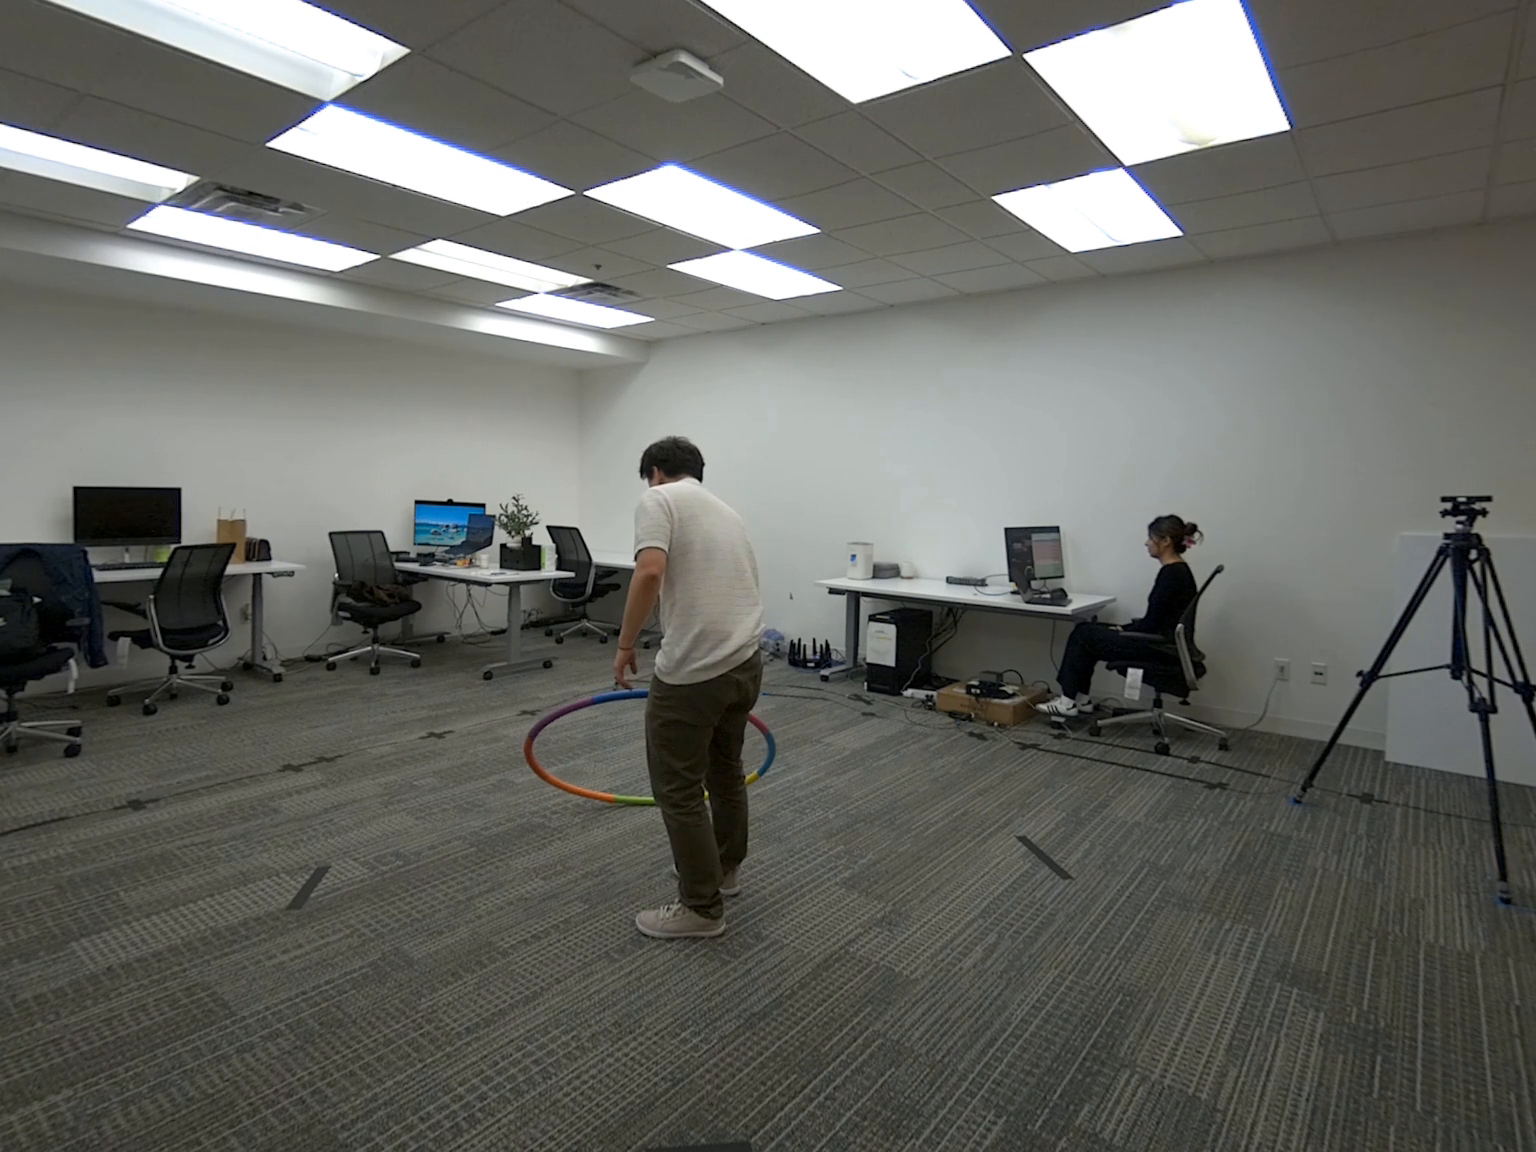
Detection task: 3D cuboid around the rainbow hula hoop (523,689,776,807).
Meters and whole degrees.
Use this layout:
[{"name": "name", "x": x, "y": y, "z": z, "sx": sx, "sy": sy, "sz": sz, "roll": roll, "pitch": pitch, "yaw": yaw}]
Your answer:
[{"name": "rainbow hula hoop", "x": -0.480, "y": 0.692, "z": 3.372, "sx": 0.977, "sy": 0.036, "sz": 0.952, "roll": 0, "pitch": -37, "yaw": -2}]
